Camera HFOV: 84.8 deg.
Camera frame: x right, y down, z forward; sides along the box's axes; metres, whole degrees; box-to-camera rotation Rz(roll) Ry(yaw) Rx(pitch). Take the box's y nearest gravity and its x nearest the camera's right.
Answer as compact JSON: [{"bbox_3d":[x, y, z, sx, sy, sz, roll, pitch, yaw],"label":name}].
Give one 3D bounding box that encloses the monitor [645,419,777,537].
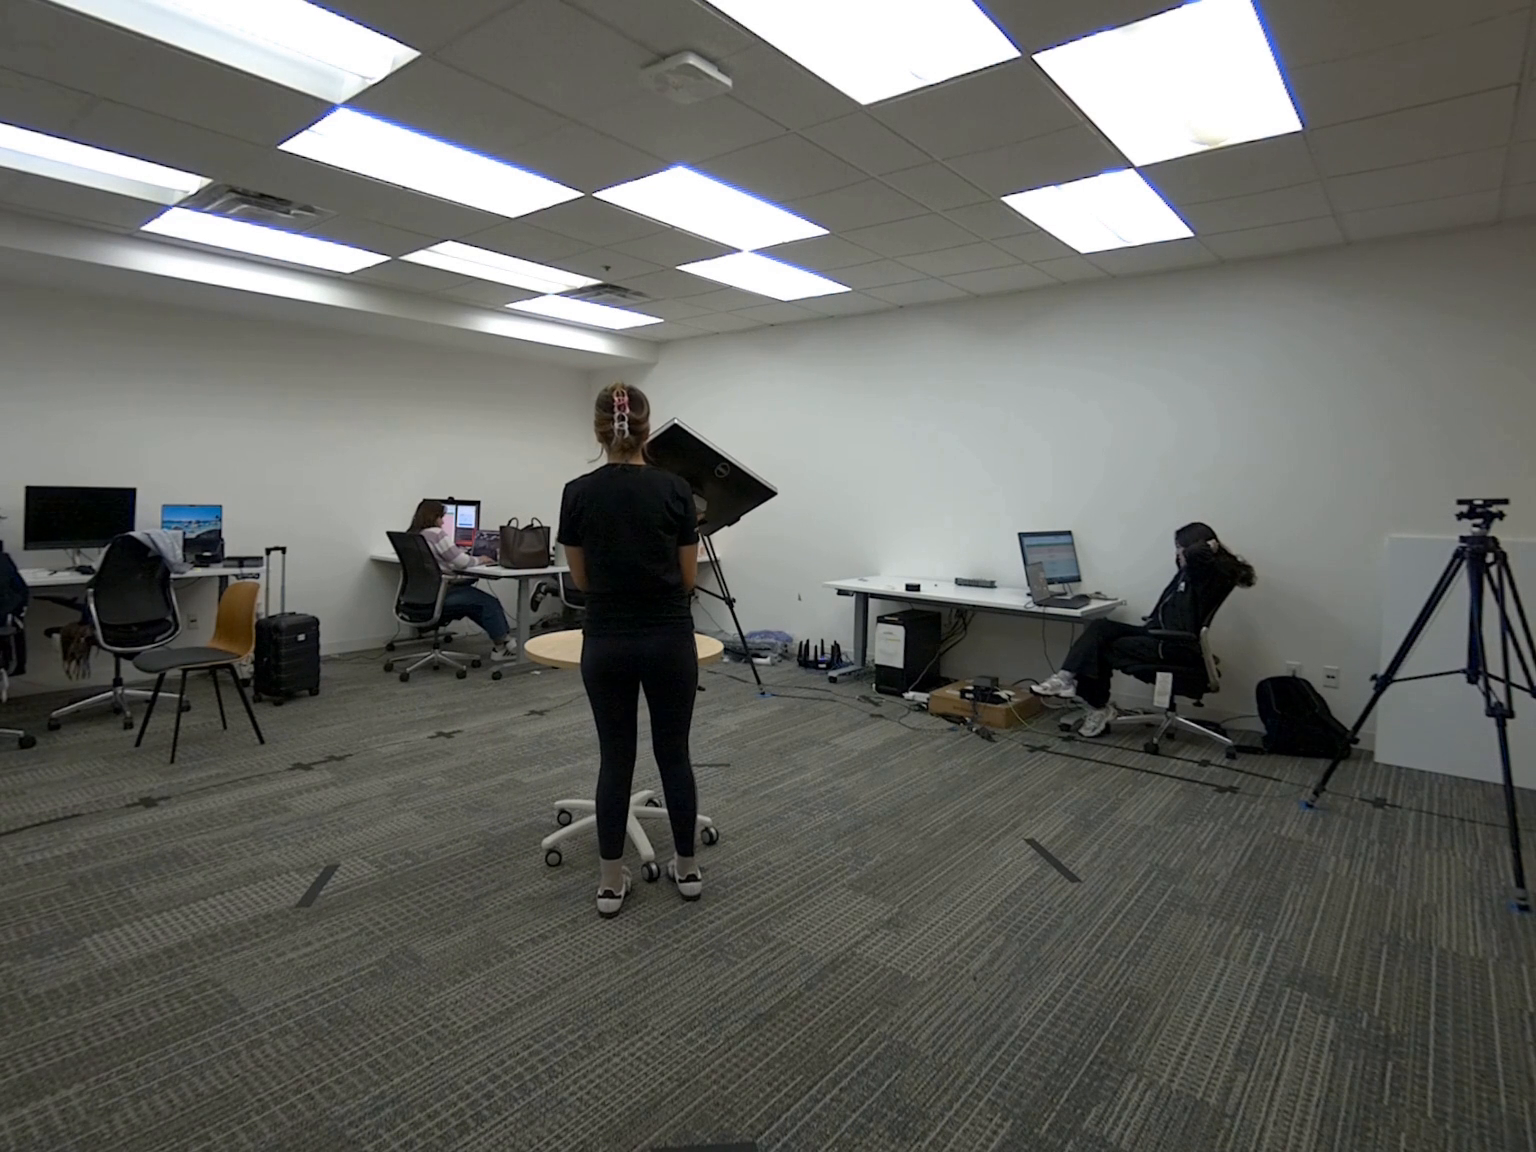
[{"bbox_3d":[-0.345,-0.260,3.096,0.524,0.194,0.517,-42,-42,20],"label":"monitor"}]
